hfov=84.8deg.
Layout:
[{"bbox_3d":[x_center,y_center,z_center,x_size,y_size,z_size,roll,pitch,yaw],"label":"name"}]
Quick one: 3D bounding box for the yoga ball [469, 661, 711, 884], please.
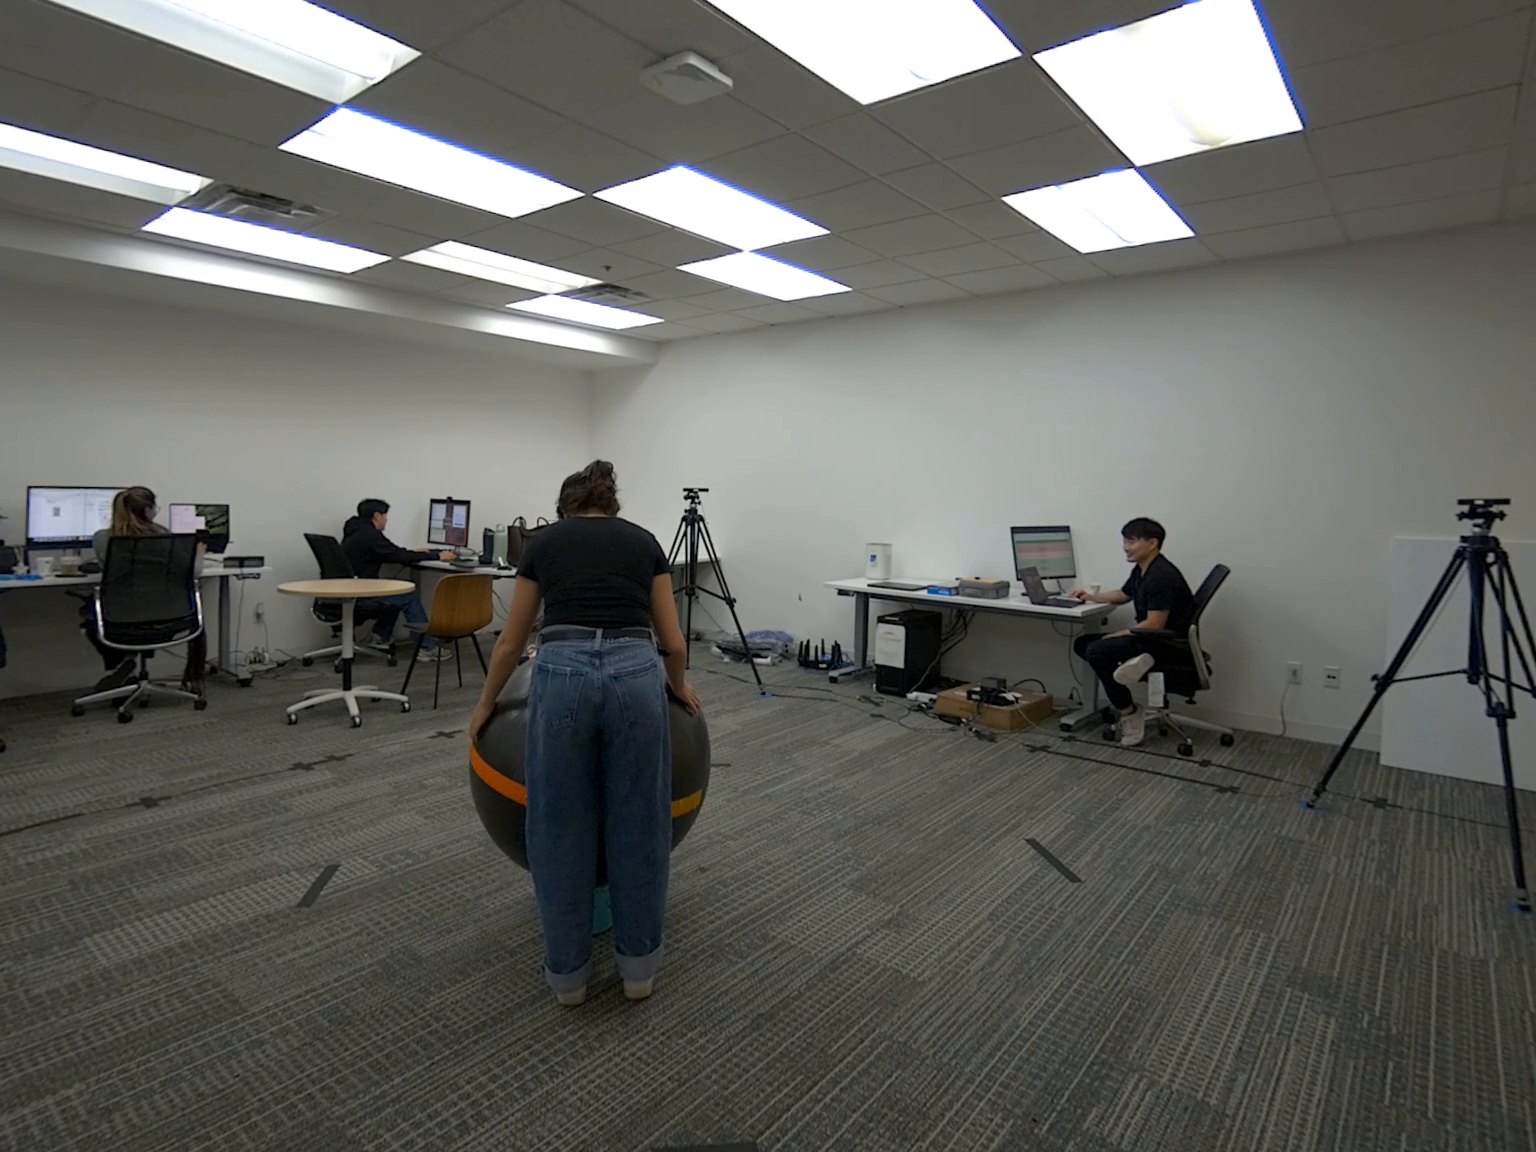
[{"bbox_3d":[-0.576,0.589,2.729,0.757,0.756,0.762,1,4,-2],"label":"yoga ball"}]
